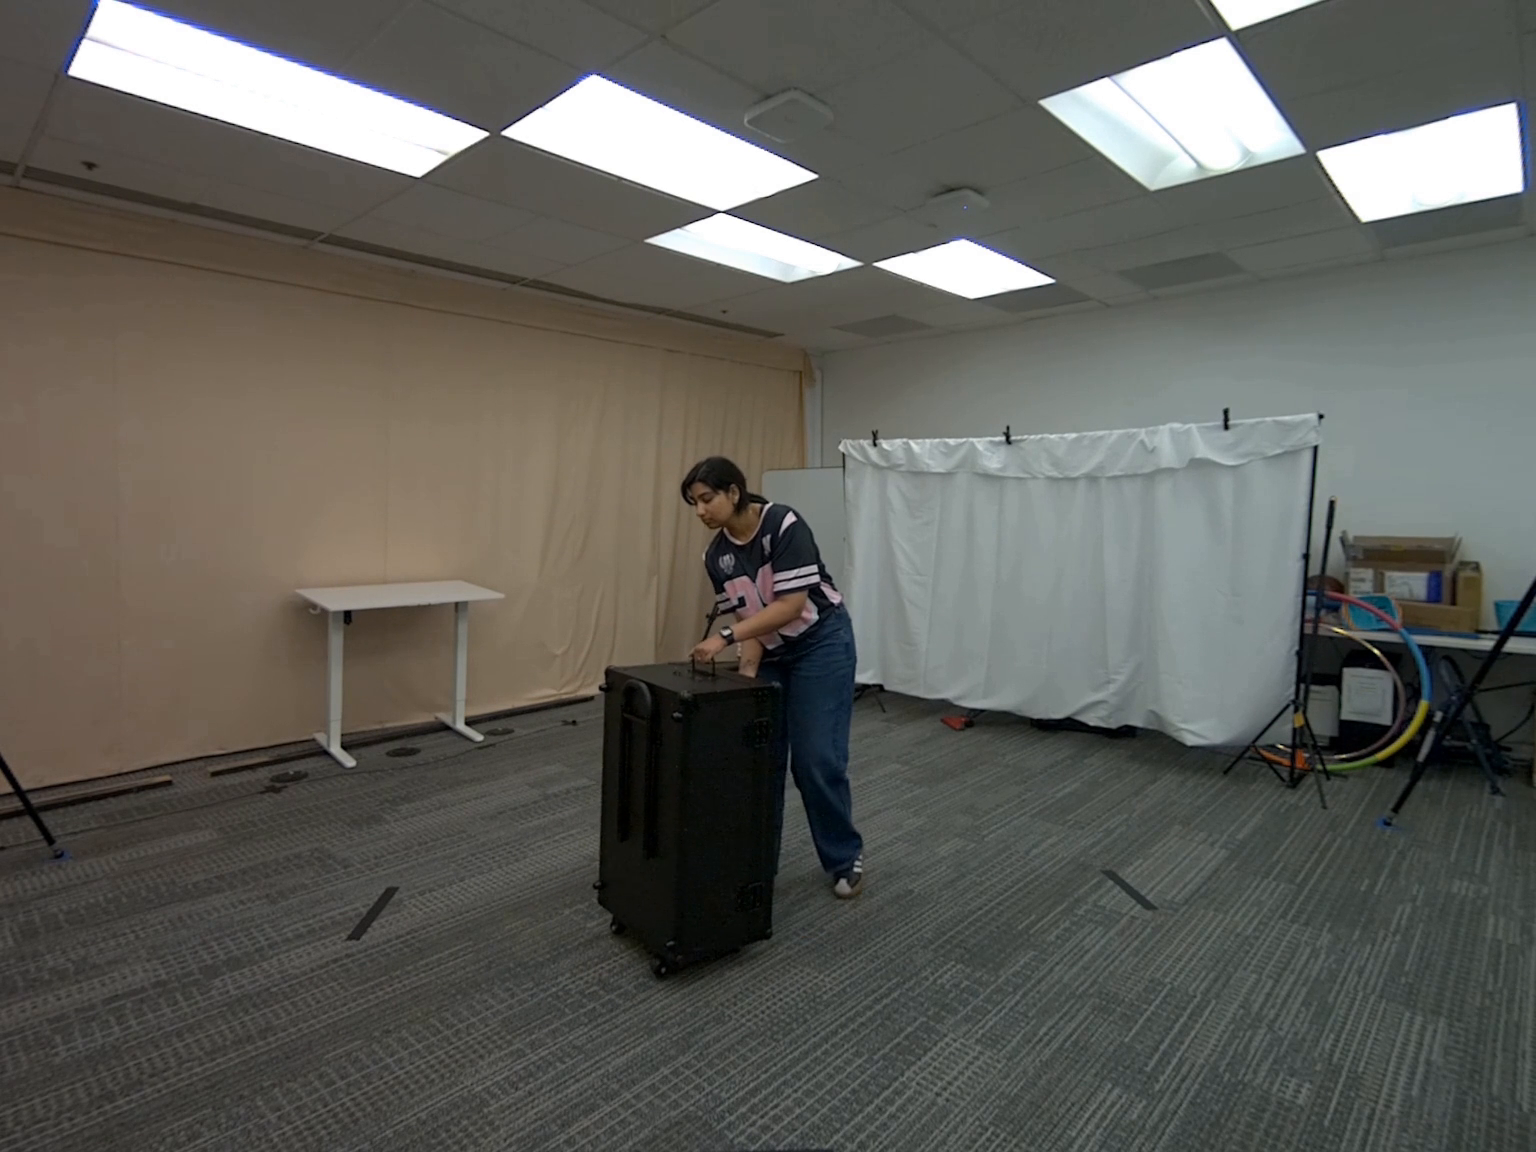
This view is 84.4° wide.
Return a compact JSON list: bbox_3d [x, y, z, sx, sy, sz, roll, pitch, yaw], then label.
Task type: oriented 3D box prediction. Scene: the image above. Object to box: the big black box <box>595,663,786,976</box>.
[{"bbox_3d":[-0.264,0.748,2.654,0.373,0.868,0.540,2,1,-37],"label":"big black box"}]
